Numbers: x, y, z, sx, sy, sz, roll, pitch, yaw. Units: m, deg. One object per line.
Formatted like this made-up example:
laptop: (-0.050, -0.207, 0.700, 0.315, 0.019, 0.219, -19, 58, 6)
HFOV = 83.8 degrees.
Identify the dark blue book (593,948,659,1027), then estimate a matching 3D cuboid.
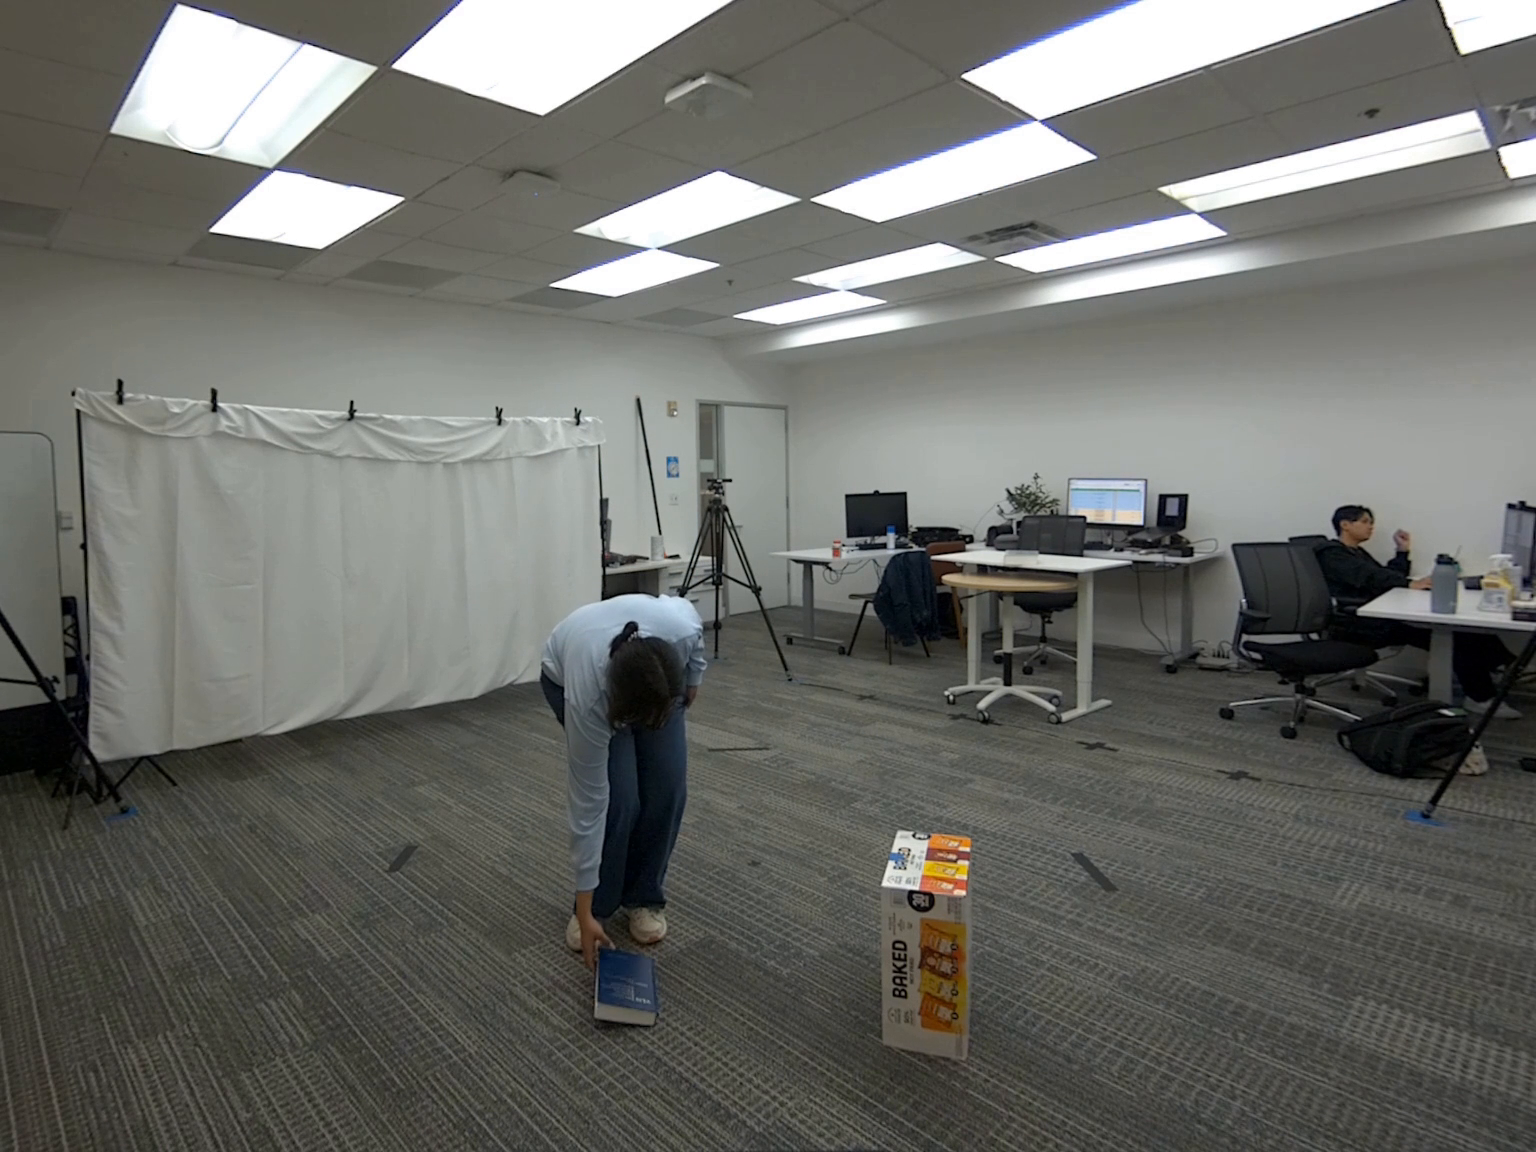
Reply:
dark blue book: (-0.384, 1.112, 2.300, 0.162, 0.045, 0.248, 13, 6, -9)
